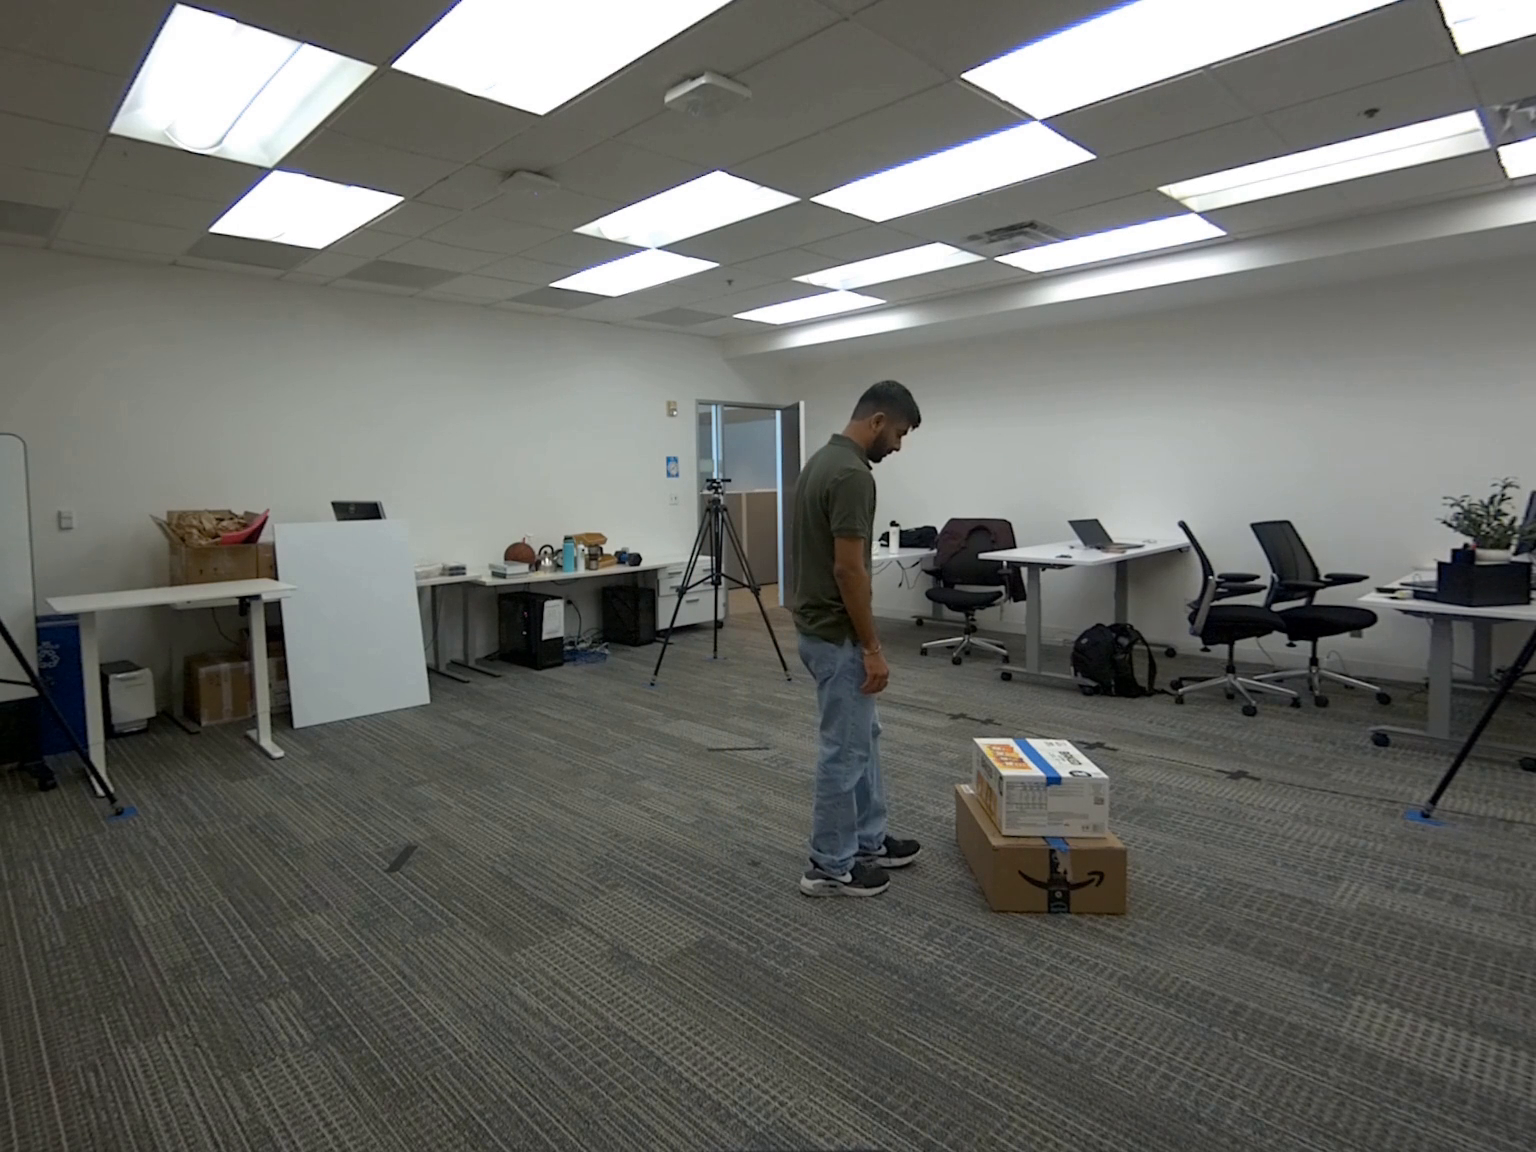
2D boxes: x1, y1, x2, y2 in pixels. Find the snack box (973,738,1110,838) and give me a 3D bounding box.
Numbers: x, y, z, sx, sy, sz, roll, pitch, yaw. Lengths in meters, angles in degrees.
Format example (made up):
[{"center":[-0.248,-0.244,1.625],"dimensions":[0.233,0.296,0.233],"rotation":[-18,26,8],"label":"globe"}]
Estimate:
[{"center":[0.931,0.725,2.966],"dimensions":[0.341,0.205,0.406],"rotation":[0,6,1],"label":"snack box"}]
